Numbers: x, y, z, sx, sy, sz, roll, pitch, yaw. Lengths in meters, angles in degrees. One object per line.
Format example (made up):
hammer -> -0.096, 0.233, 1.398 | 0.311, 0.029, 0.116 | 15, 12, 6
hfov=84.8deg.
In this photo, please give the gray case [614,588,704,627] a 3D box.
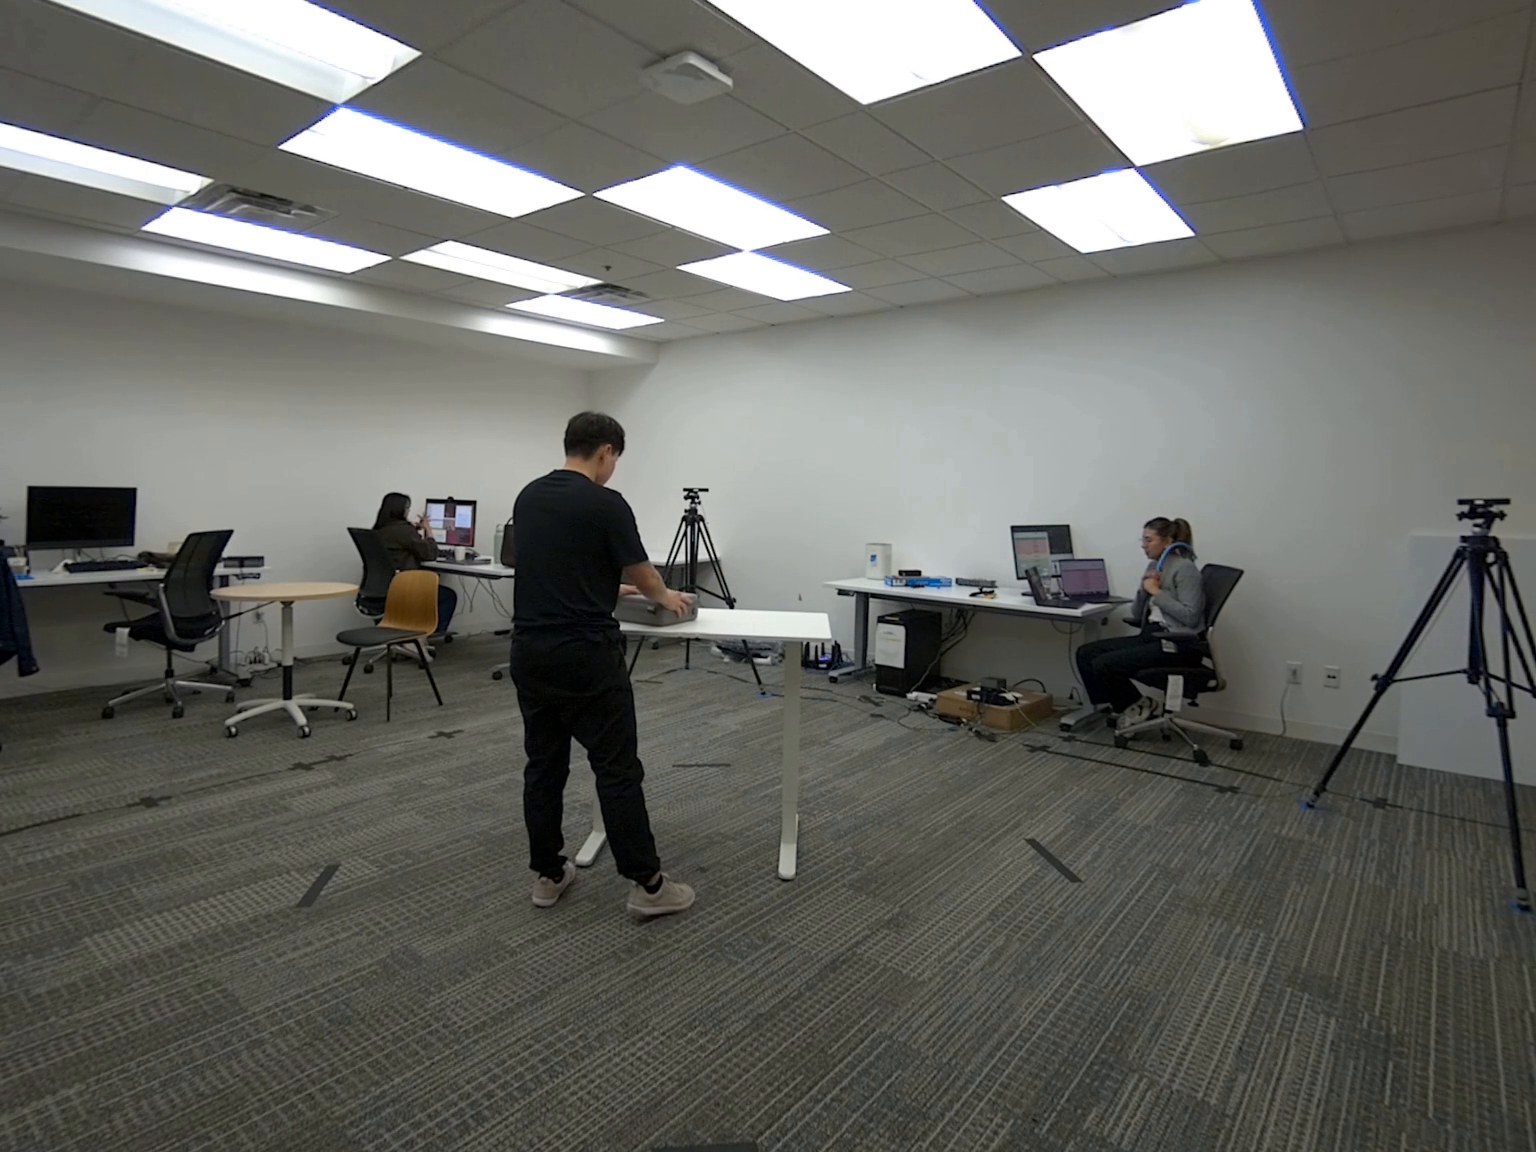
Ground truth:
gray case -> -0.431, 0.115, 3.275 | 0.265, 0.104, 0.254 | 3, 7, 32
